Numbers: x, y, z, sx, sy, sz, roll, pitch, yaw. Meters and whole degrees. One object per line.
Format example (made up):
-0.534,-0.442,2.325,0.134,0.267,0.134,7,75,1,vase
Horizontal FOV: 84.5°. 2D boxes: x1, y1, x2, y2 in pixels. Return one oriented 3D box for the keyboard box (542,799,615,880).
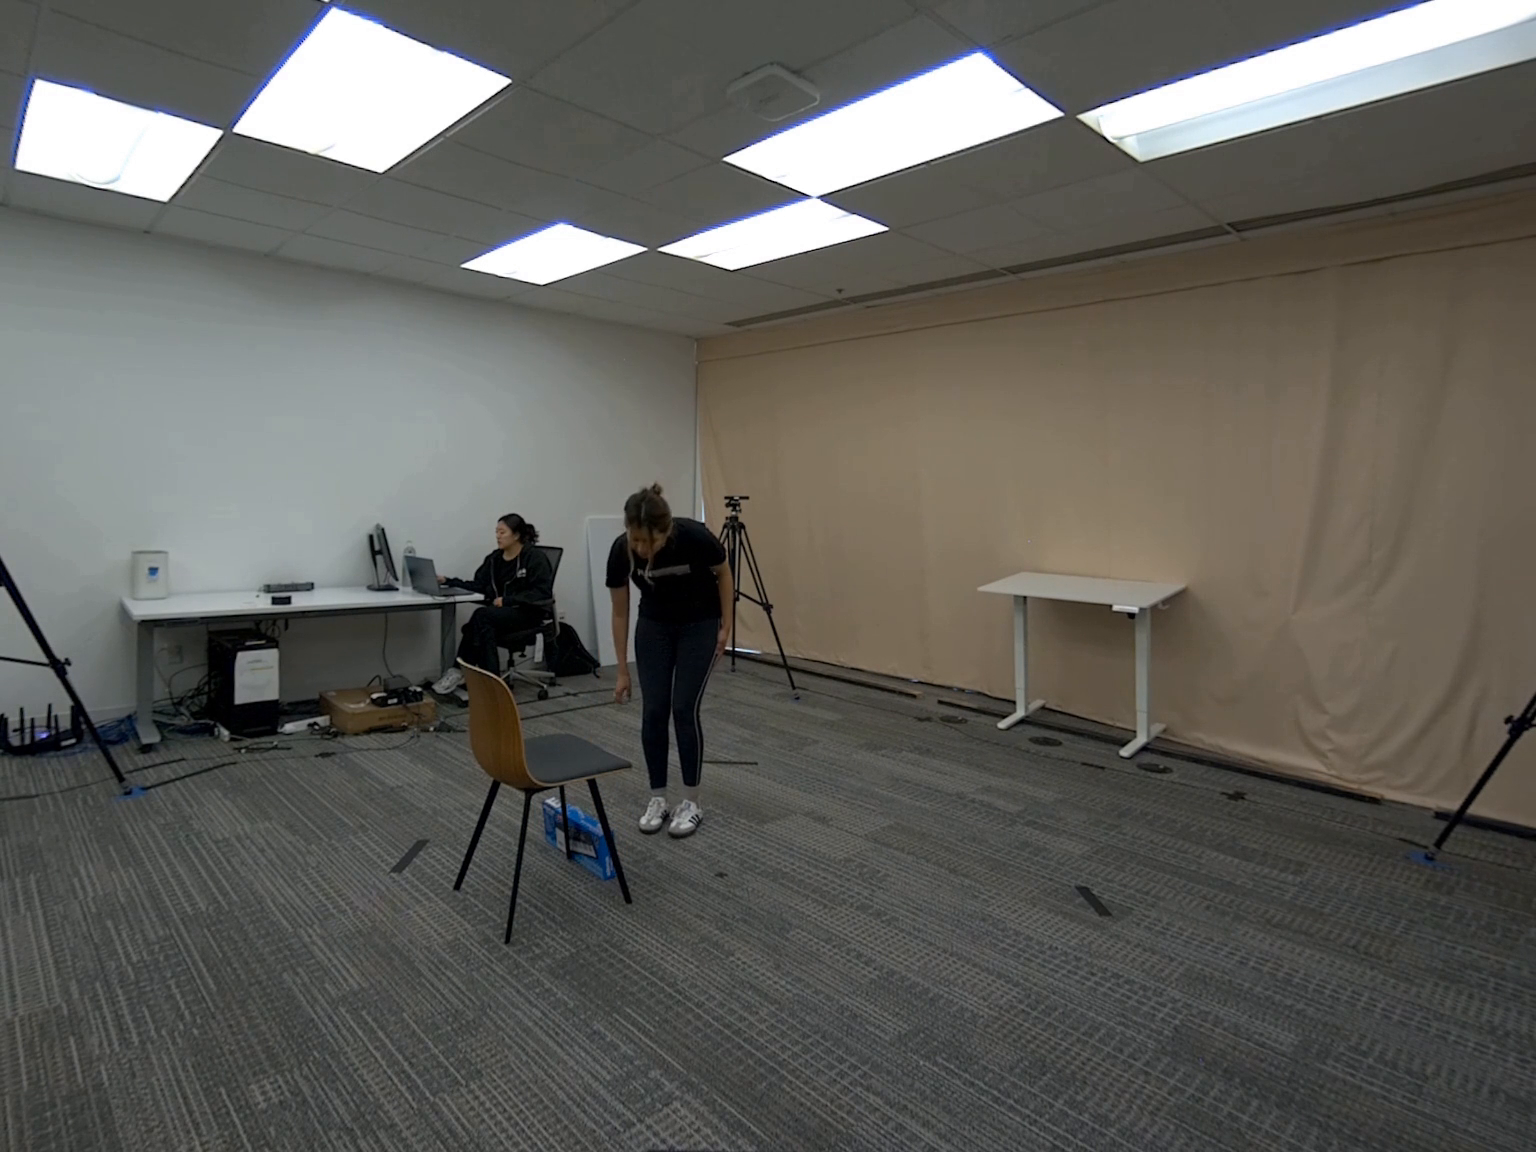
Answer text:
-0.731,0.995,3.209,0.058,0.175,0.448,-10,11,-40,keyboard box
